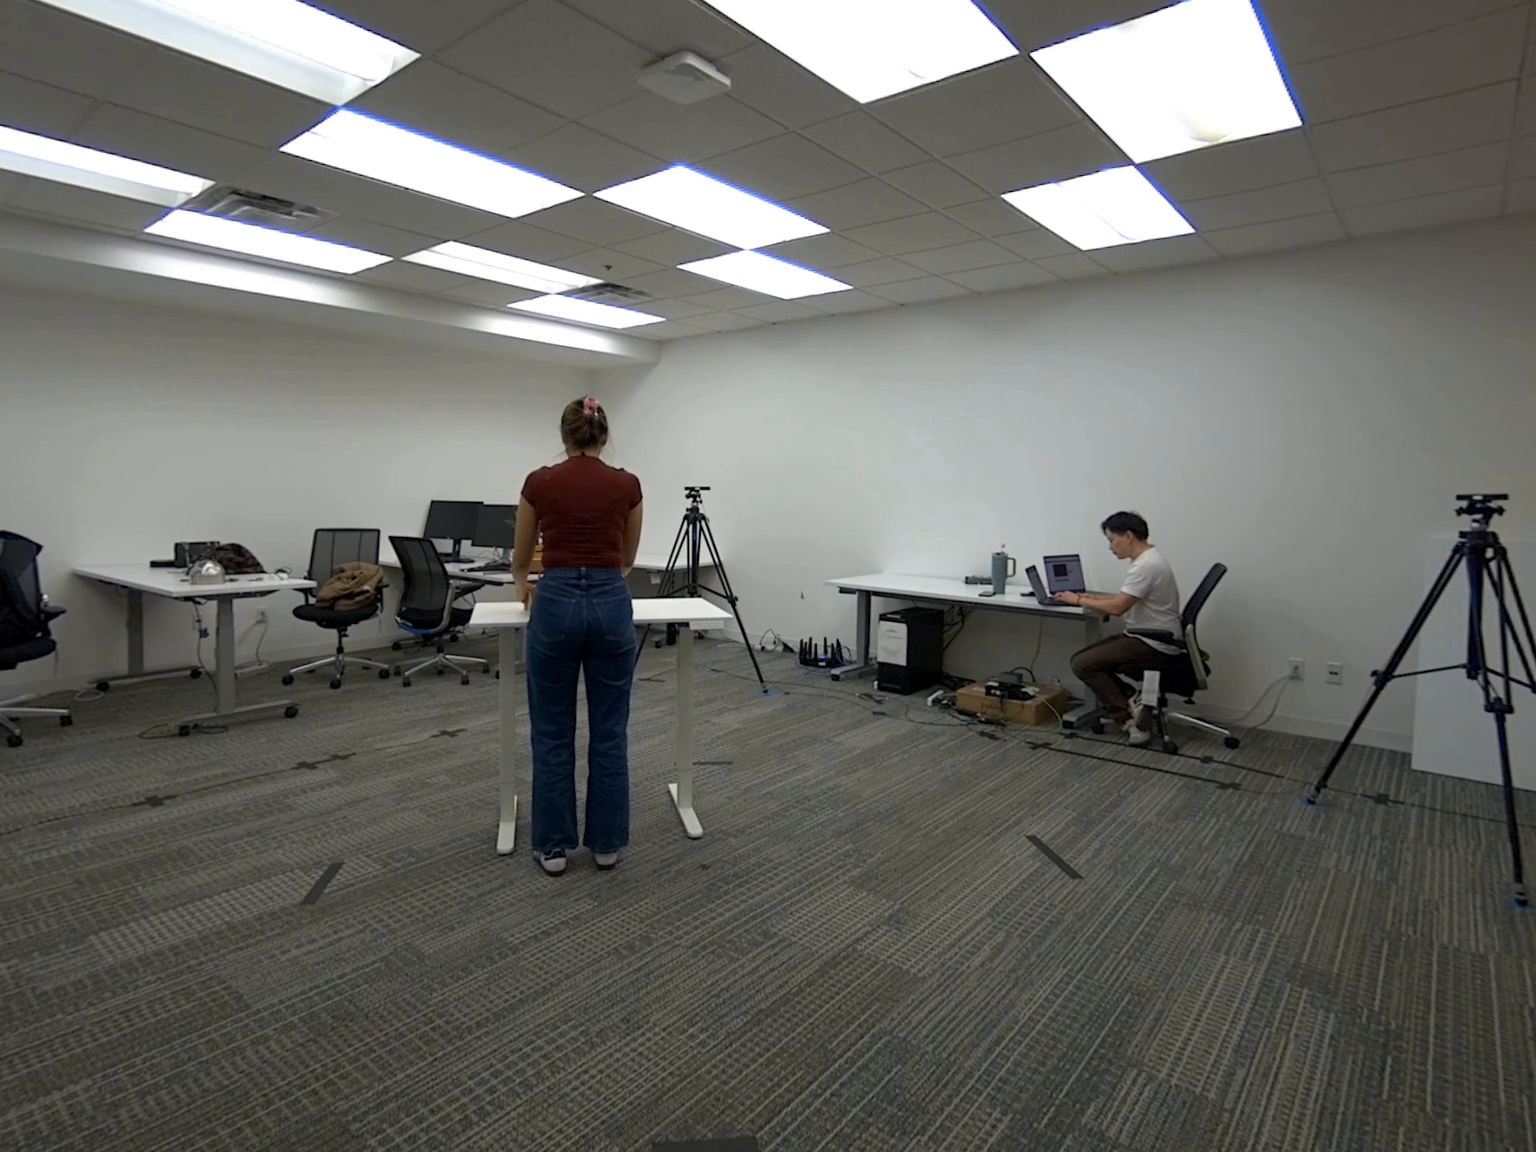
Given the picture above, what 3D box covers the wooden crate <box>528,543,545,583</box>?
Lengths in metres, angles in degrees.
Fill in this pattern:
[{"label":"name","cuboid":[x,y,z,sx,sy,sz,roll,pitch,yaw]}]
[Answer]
[{"label":"wooden crate","cuboid":[-0.843,0.008,3.473,0.318,0.273,0.309,-1,3,-20]}]
